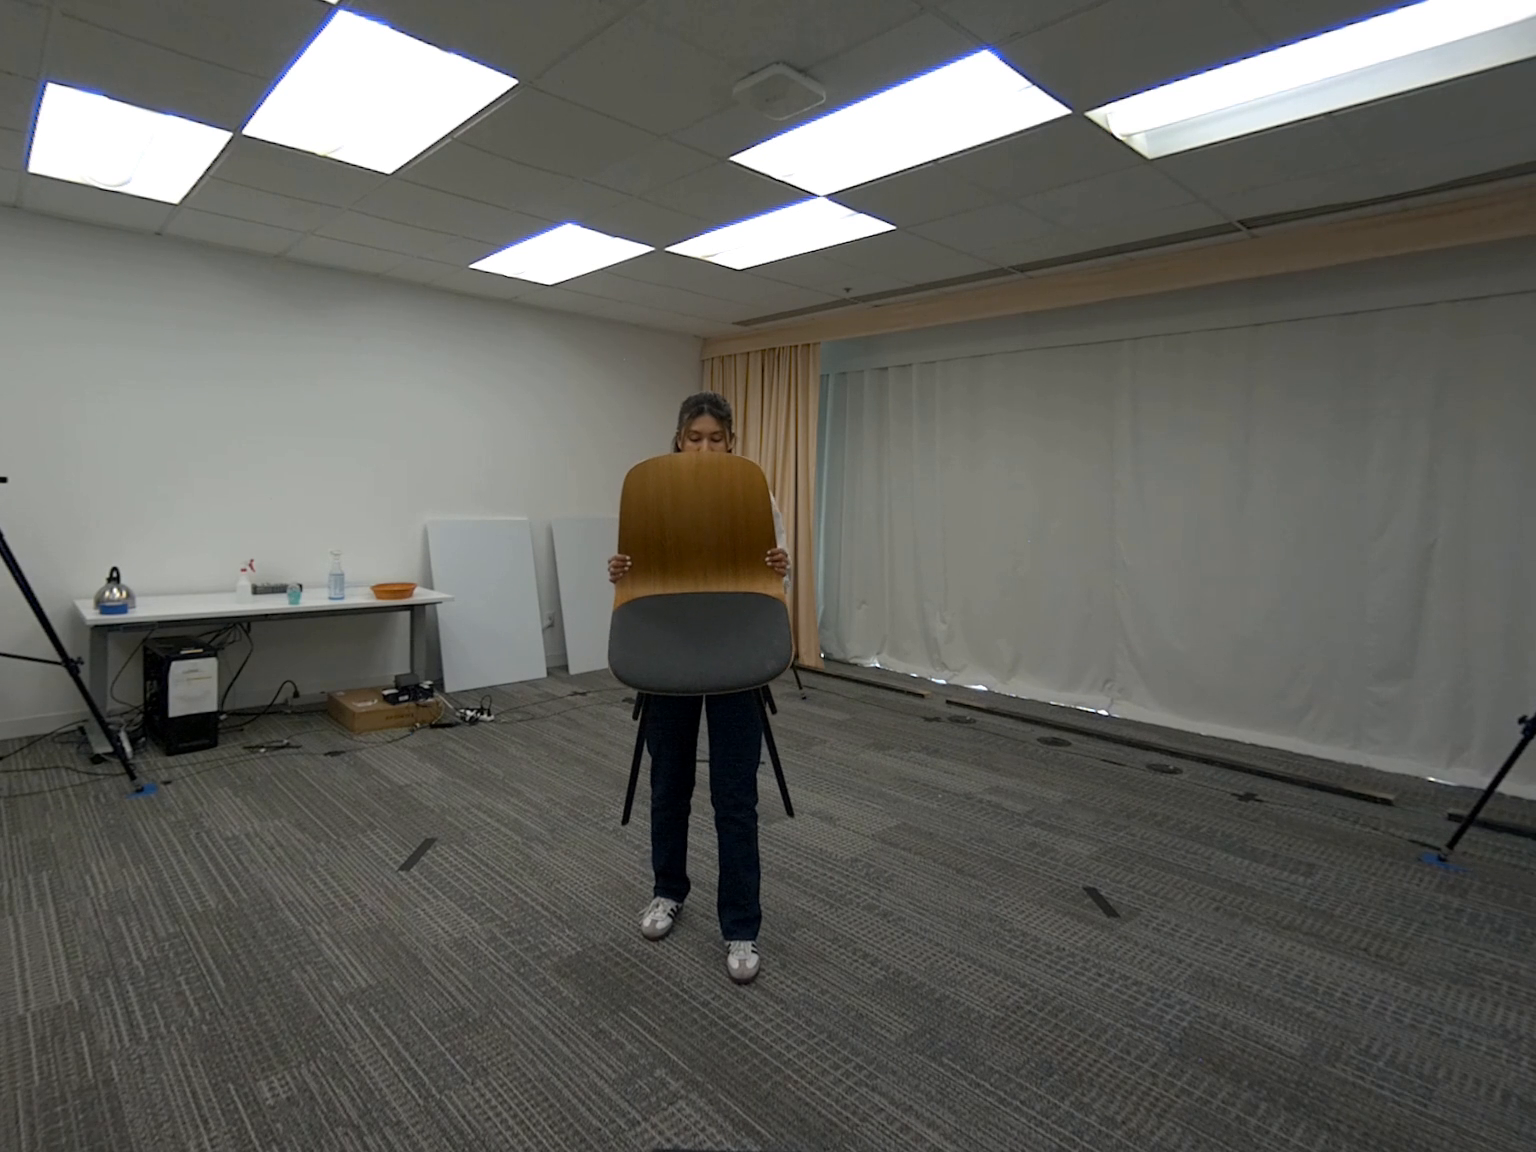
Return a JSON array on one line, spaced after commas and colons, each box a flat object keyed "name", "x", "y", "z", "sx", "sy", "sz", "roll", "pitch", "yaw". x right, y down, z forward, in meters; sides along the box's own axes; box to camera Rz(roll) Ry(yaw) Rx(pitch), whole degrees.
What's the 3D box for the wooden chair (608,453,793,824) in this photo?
[{"name": "wooden chair", "x": -0.188, "y": 0.167, "z": 2.201, "sx": 0.477, "sy": 0.864, "sz": 0.532, "roll": -2, "pitch": 22, "yaw": -3}]
